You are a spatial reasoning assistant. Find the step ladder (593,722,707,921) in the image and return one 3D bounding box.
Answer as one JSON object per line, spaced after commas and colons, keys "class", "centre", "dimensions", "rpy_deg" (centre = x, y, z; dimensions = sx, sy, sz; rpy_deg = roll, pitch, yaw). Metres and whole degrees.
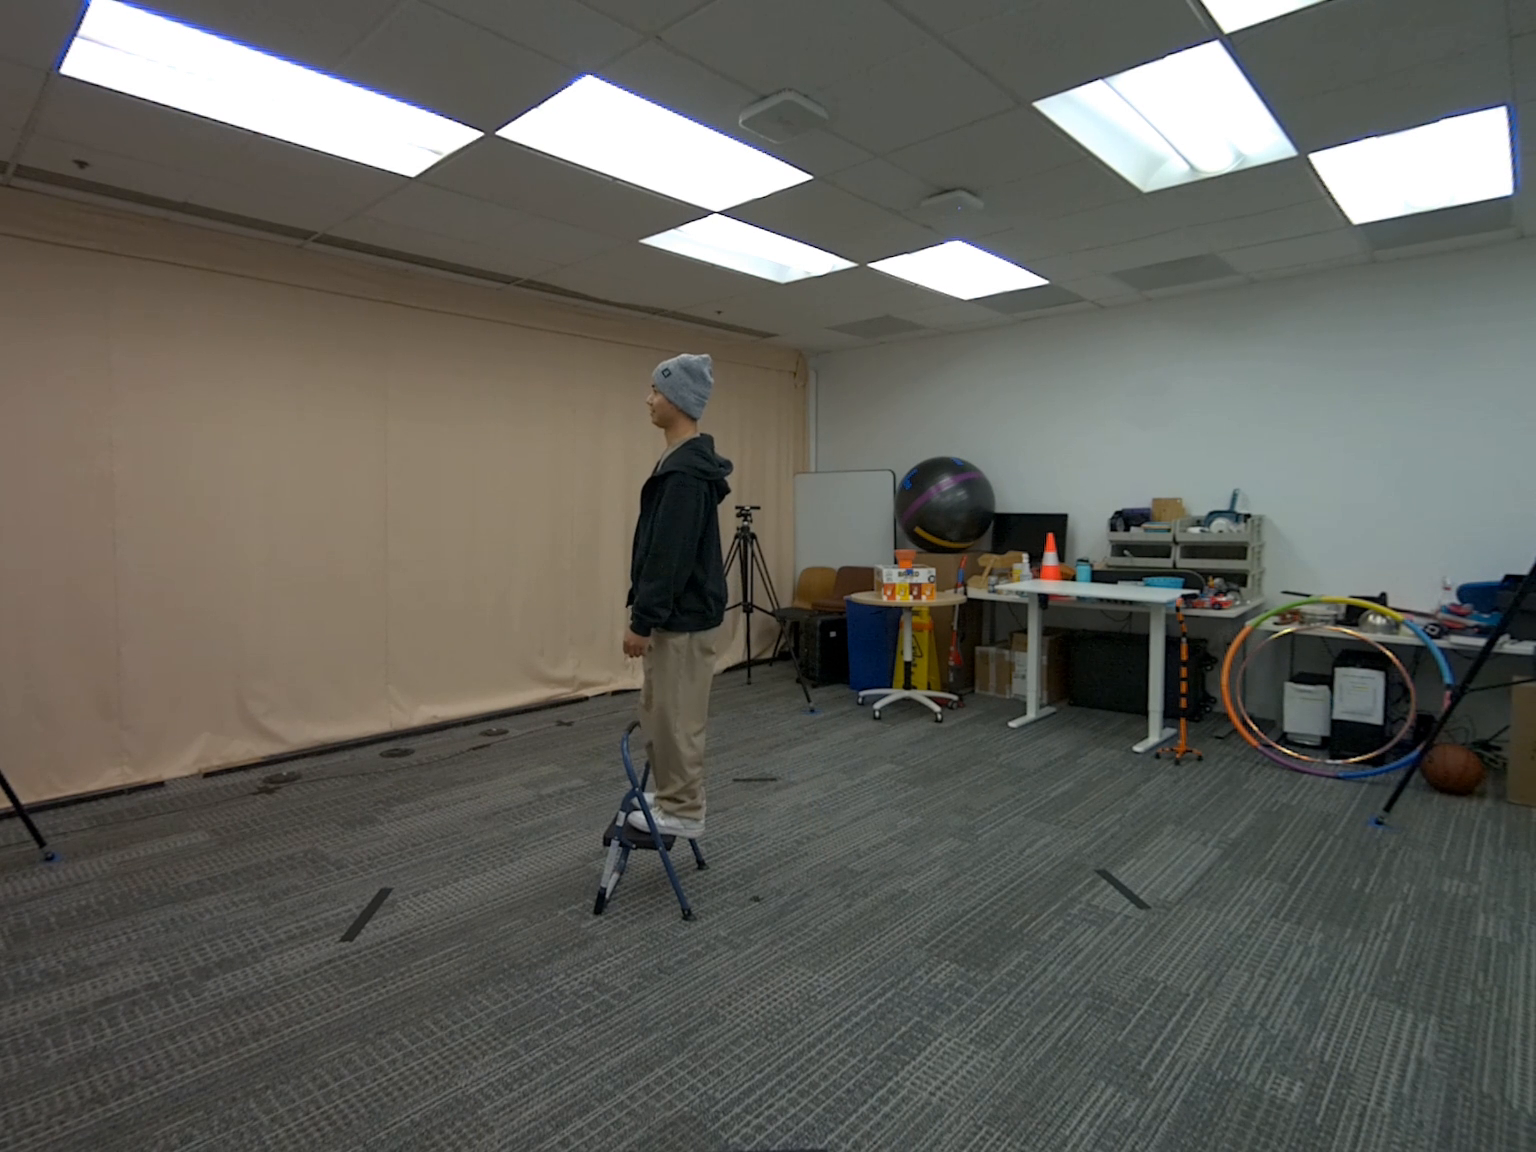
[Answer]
{"class": "step ladder", "centre": [-0.417, 0.845, 3.042], "dimensions": [0.351, 0.605, 0.430], "rpy_deg": [1, 3, 3]}
